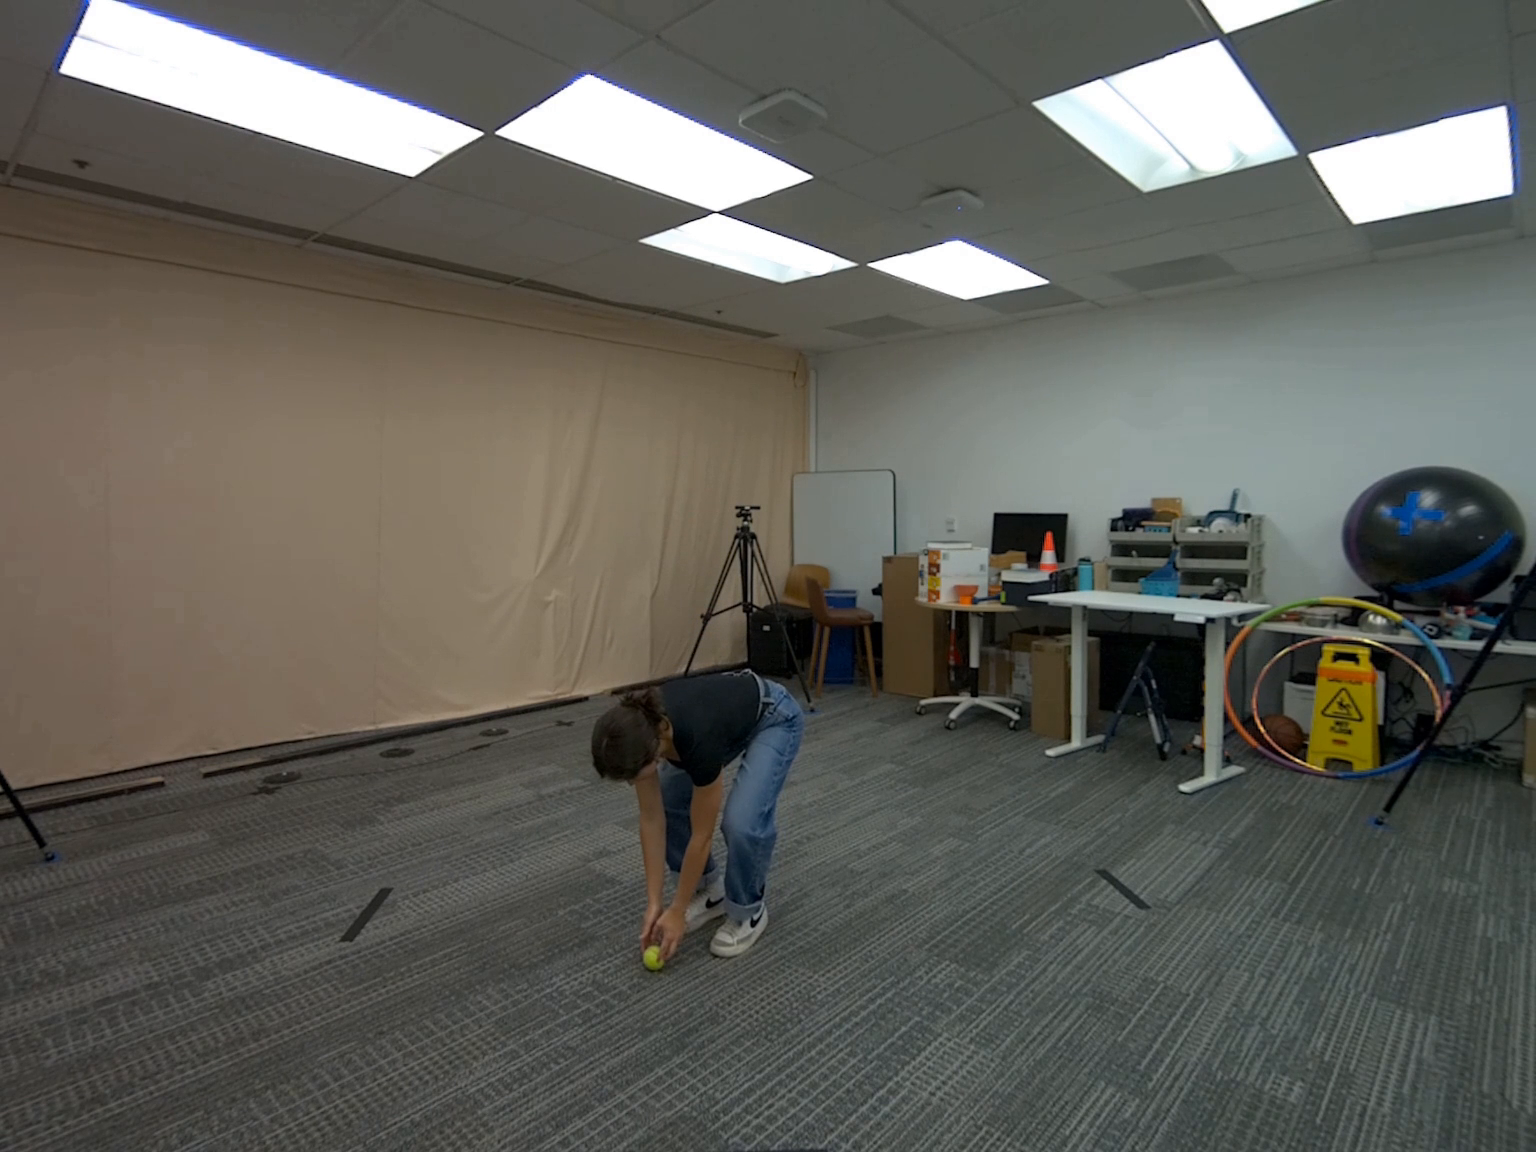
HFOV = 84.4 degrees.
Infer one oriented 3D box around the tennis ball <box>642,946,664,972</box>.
[{"bbox_3d":[-0.340,1.138,2.536,0.066,0.066,0.067,0,4,-2],"label":"tennis ball"}]
